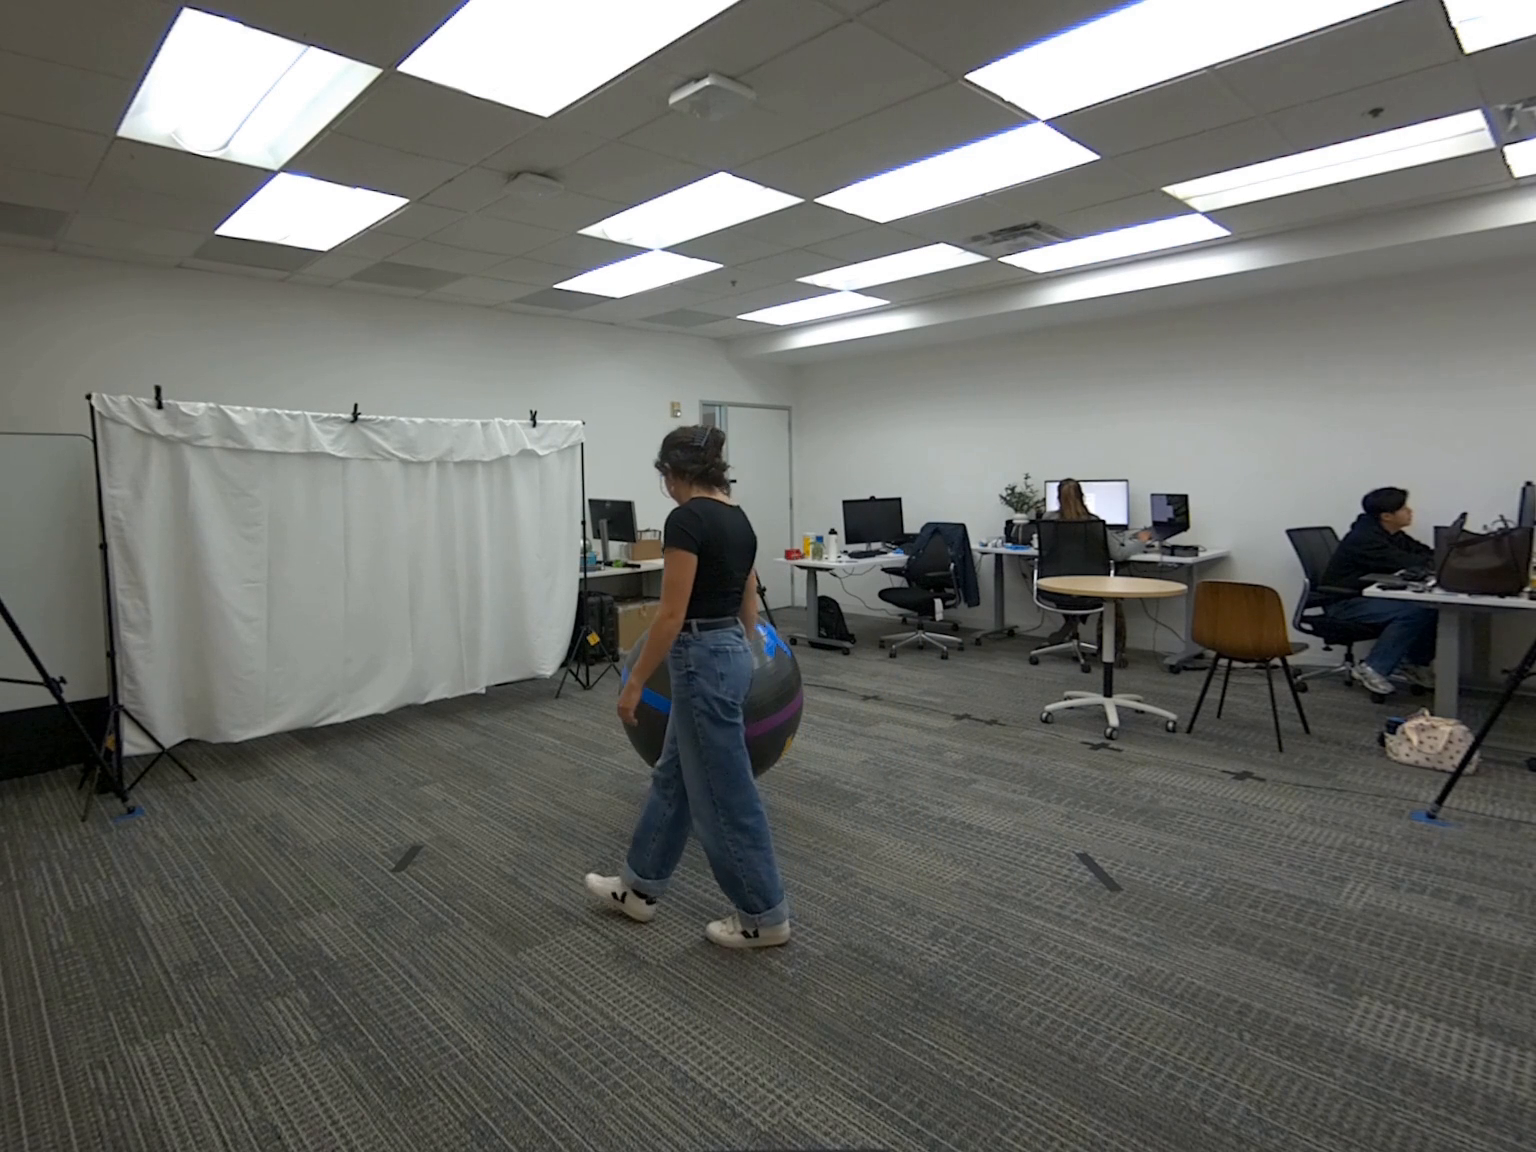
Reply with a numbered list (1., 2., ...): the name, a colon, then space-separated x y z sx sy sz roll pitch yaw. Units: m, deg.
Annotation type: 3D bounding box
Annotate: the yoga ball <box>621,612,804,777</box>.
1. yoga ball: -0.236 0.489 3.528 0.757 0.755 0.762 -1 5 -2
